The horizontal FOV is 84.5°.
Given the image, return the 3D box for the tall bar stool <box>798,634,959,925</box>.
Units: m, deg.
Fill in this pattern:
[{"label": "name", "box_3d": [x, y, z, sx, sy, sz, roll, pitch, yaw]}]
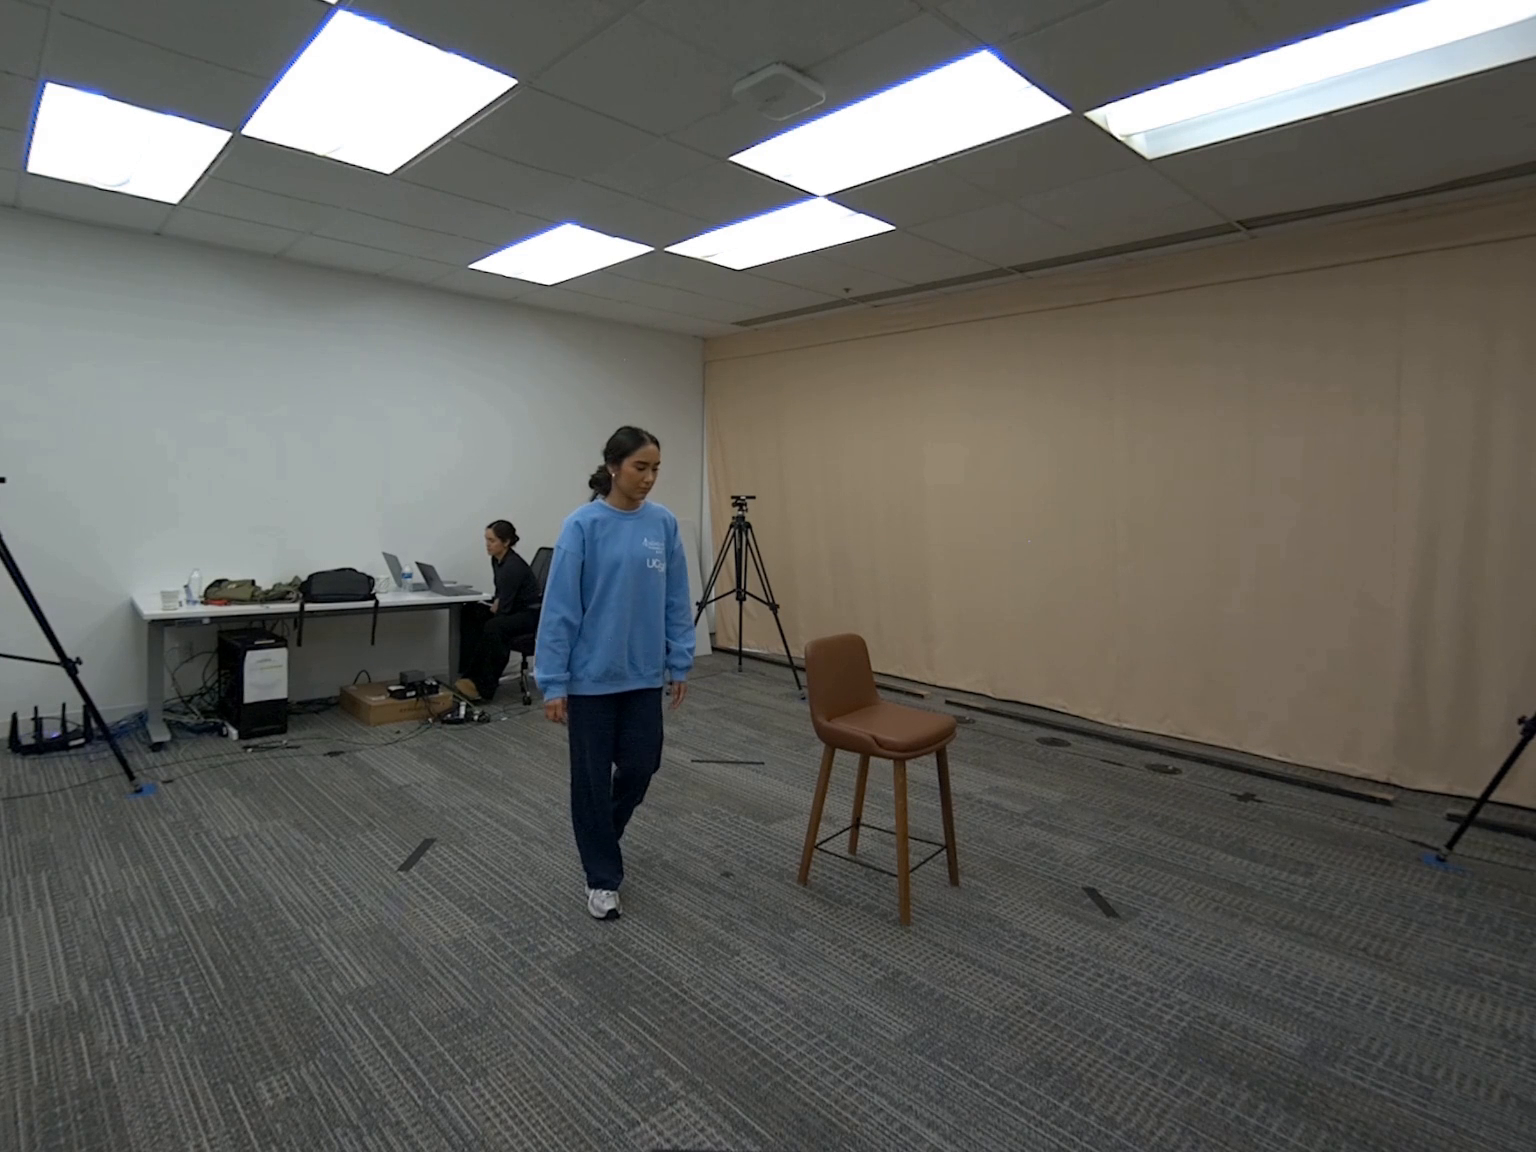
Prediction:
[{"label": "tall bar stool", "box_3d": [0.402, 0.688, 3.028, 0.479, 0.888, 0.446, 3, 3, 38]}]
